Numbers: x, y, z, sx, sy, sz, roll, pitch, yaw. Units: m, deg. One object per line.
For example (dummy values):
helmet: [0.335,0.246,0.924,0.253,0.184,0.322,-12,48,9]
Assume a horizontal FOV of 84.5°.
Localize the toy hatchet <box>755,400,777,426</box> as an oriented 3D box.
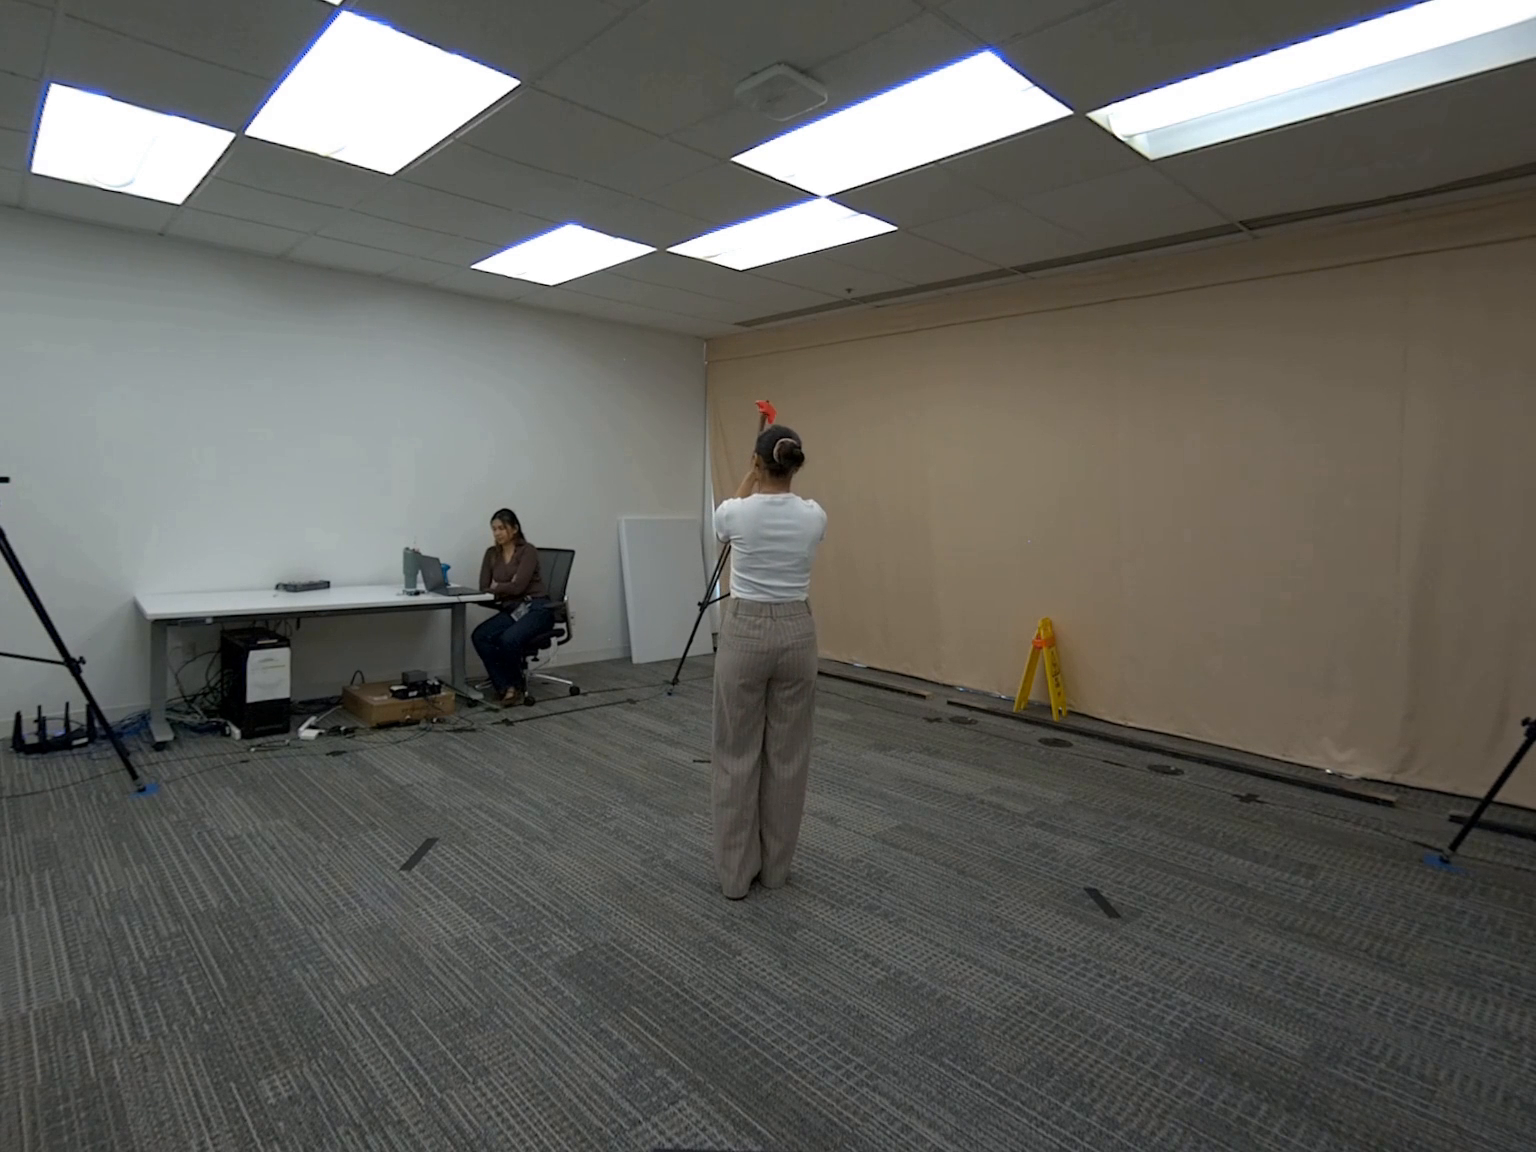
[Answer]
toy hatchet: [-0.015,-0.553,3.290,0.030,0.268,0.129,5,9,33]
